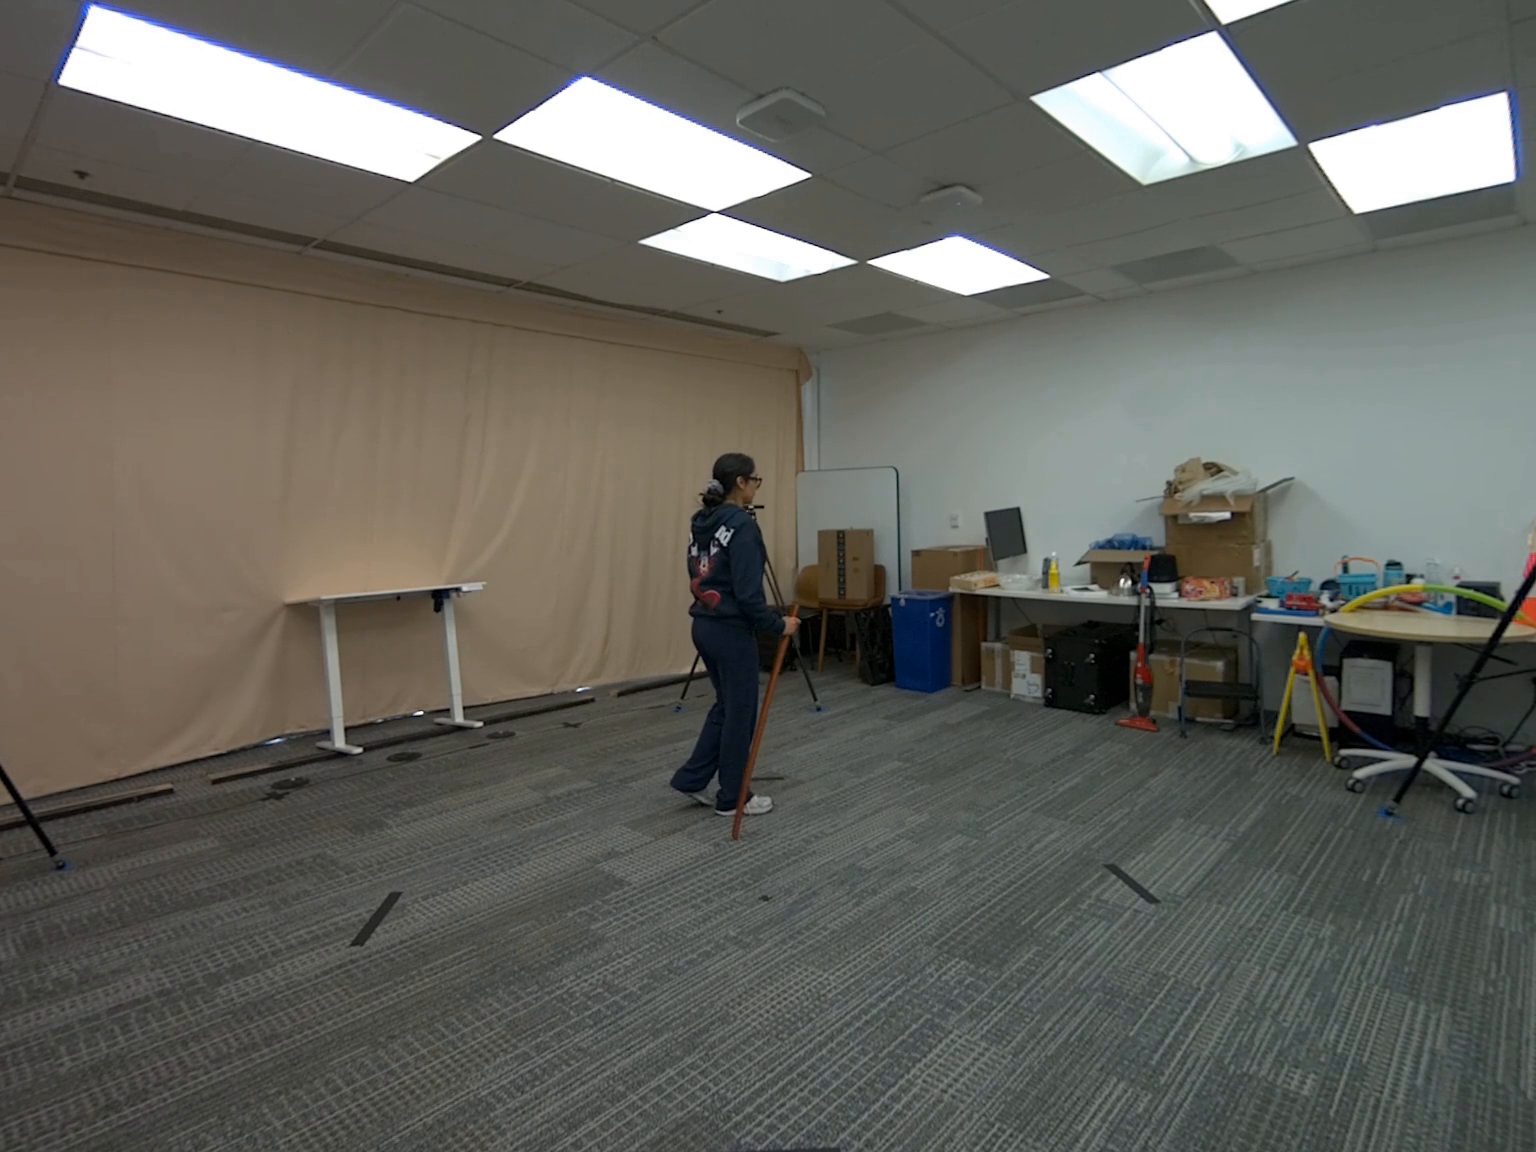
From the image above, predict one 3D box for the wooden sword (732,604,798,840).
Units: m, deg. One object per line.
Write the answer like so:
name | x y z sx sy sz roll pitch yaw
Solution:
wooden sword | -0.015 0.620 3.616 0.023 1.028 0.052 21 -13 -19
